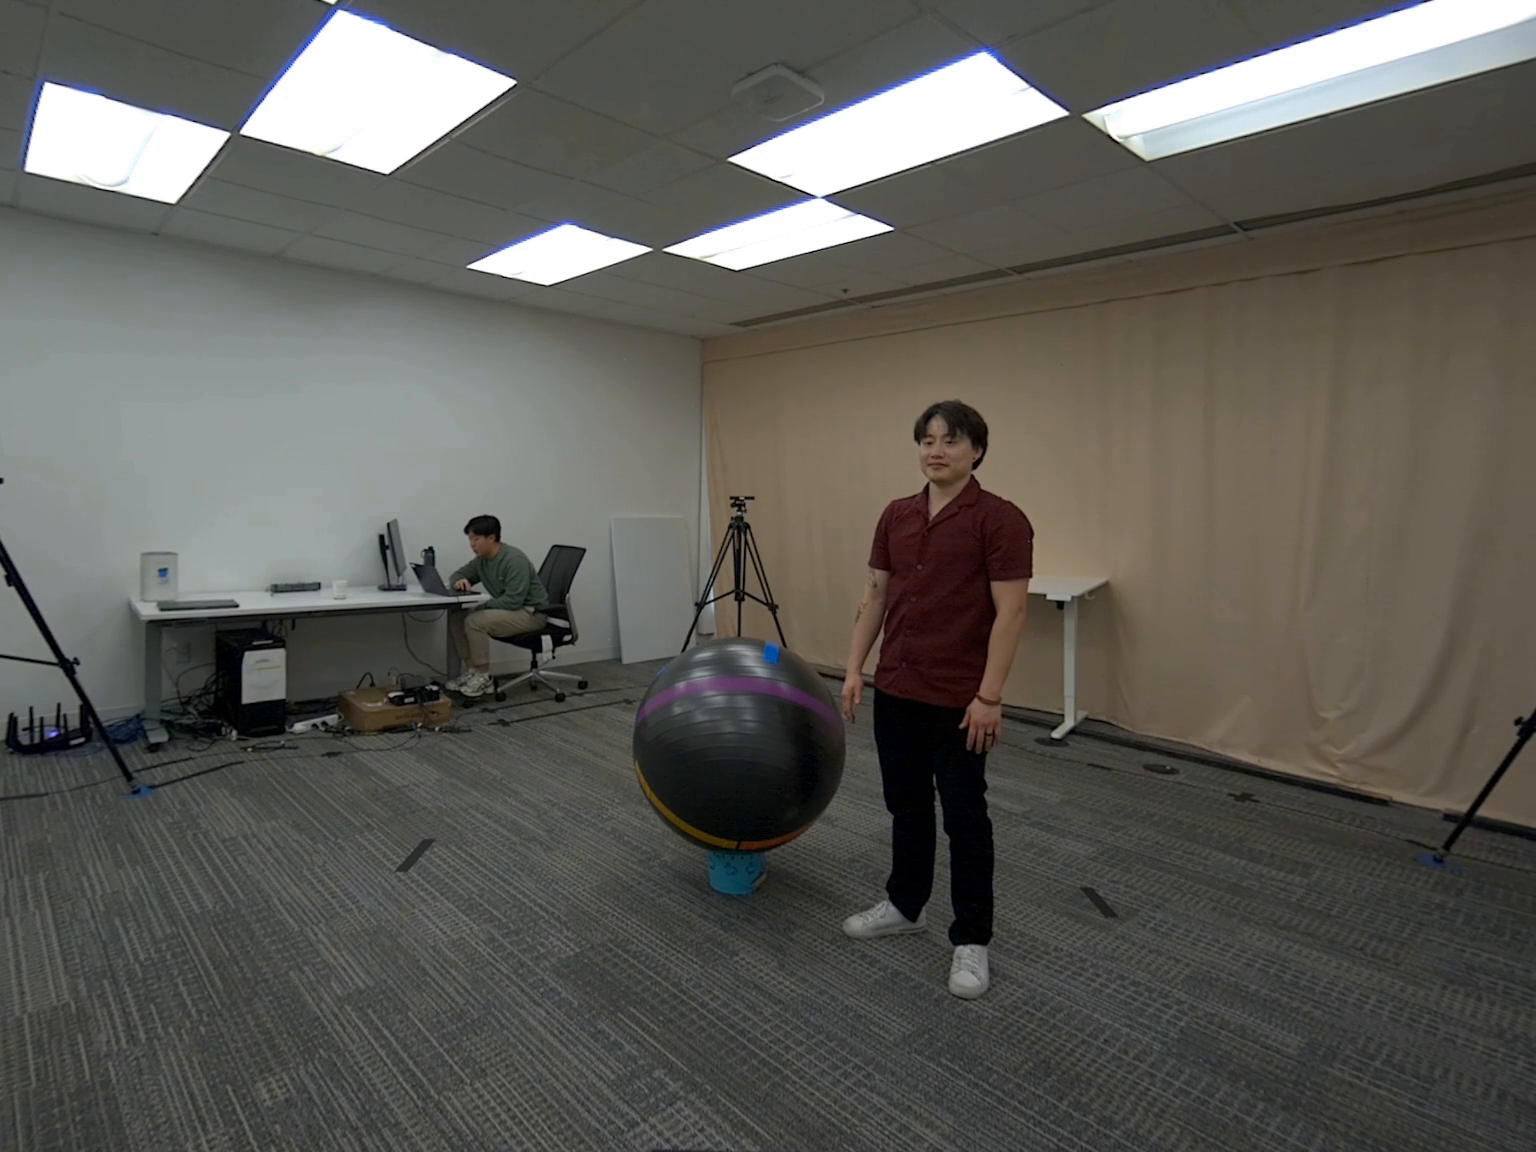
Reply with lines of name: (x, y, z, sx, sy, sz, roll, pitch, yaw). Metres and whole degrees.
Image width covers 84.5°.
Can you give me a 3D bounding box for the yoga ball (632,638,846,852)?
yoga ball: (-0.110, 0.603, 3.032, 0.757, 0.756, 0.761, 1, 4, -1)
